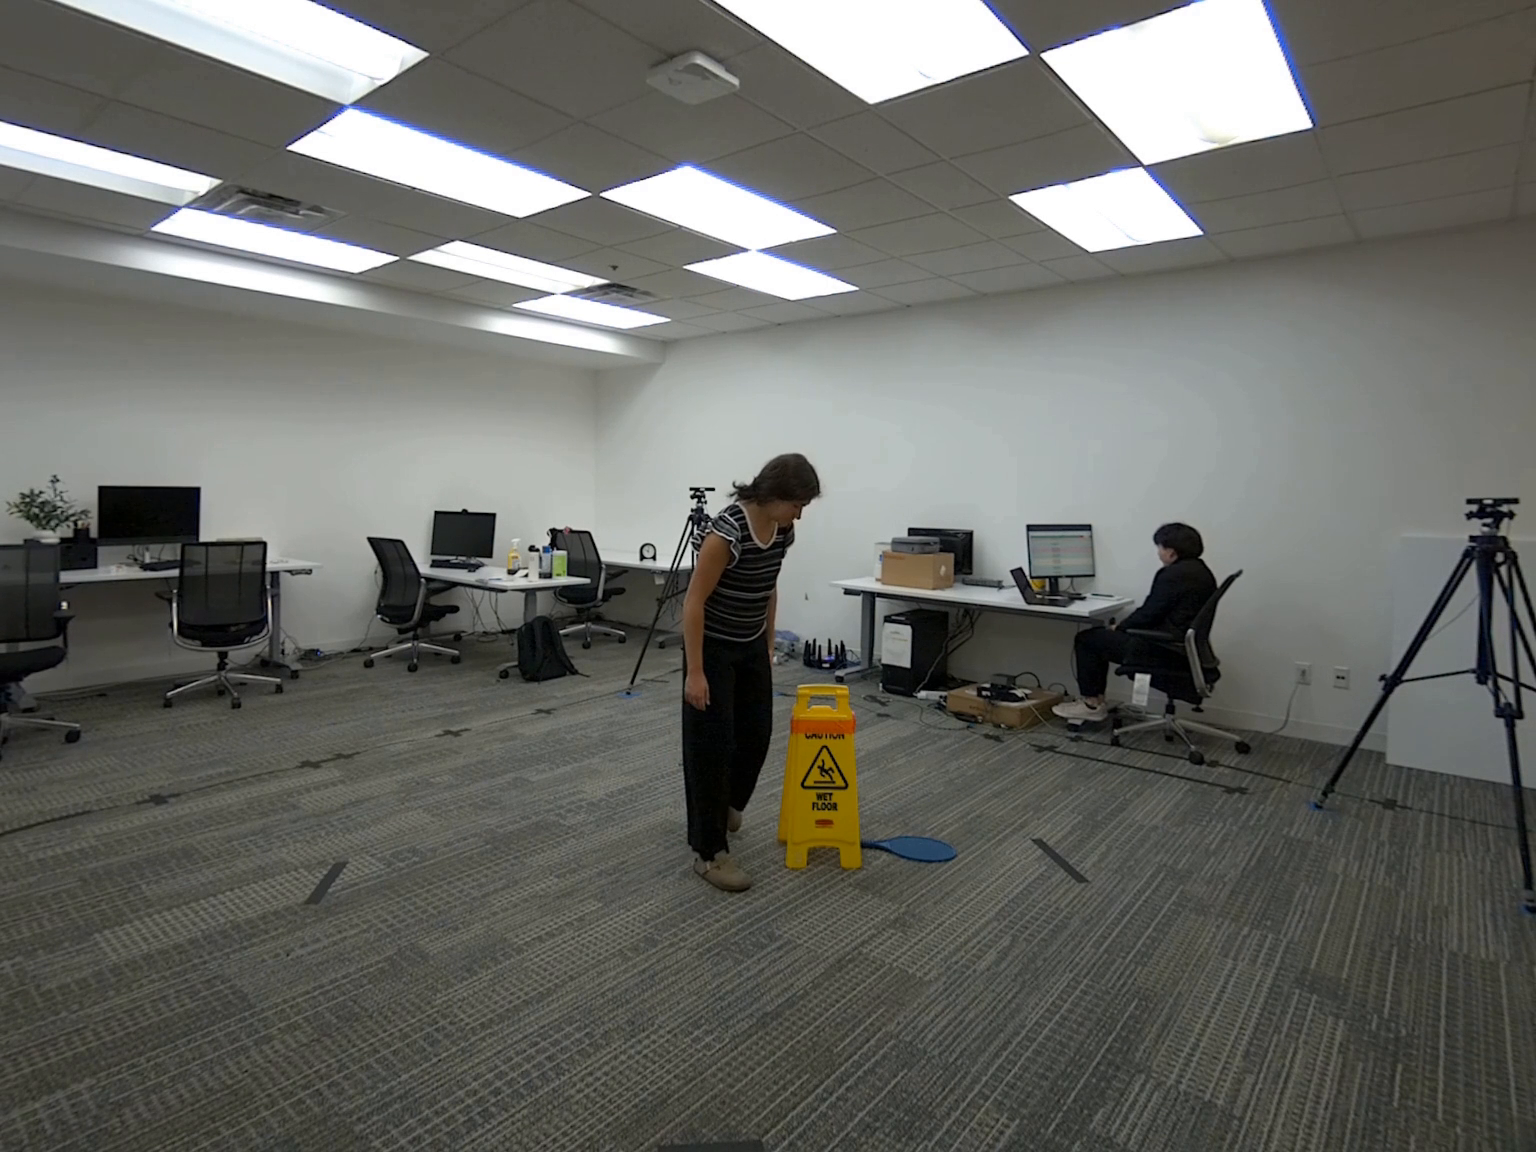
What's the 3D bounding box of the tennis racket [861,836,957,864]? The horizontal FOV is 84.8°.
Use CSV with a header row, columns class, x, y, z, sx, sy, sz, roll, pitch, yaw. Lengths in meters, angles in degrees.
class,x,y,z,sx,sy,sz,roll,pitch,yaw
tennis racket,0.515,1.056,3.323,0.435,0.031,0.213,3,5,5
